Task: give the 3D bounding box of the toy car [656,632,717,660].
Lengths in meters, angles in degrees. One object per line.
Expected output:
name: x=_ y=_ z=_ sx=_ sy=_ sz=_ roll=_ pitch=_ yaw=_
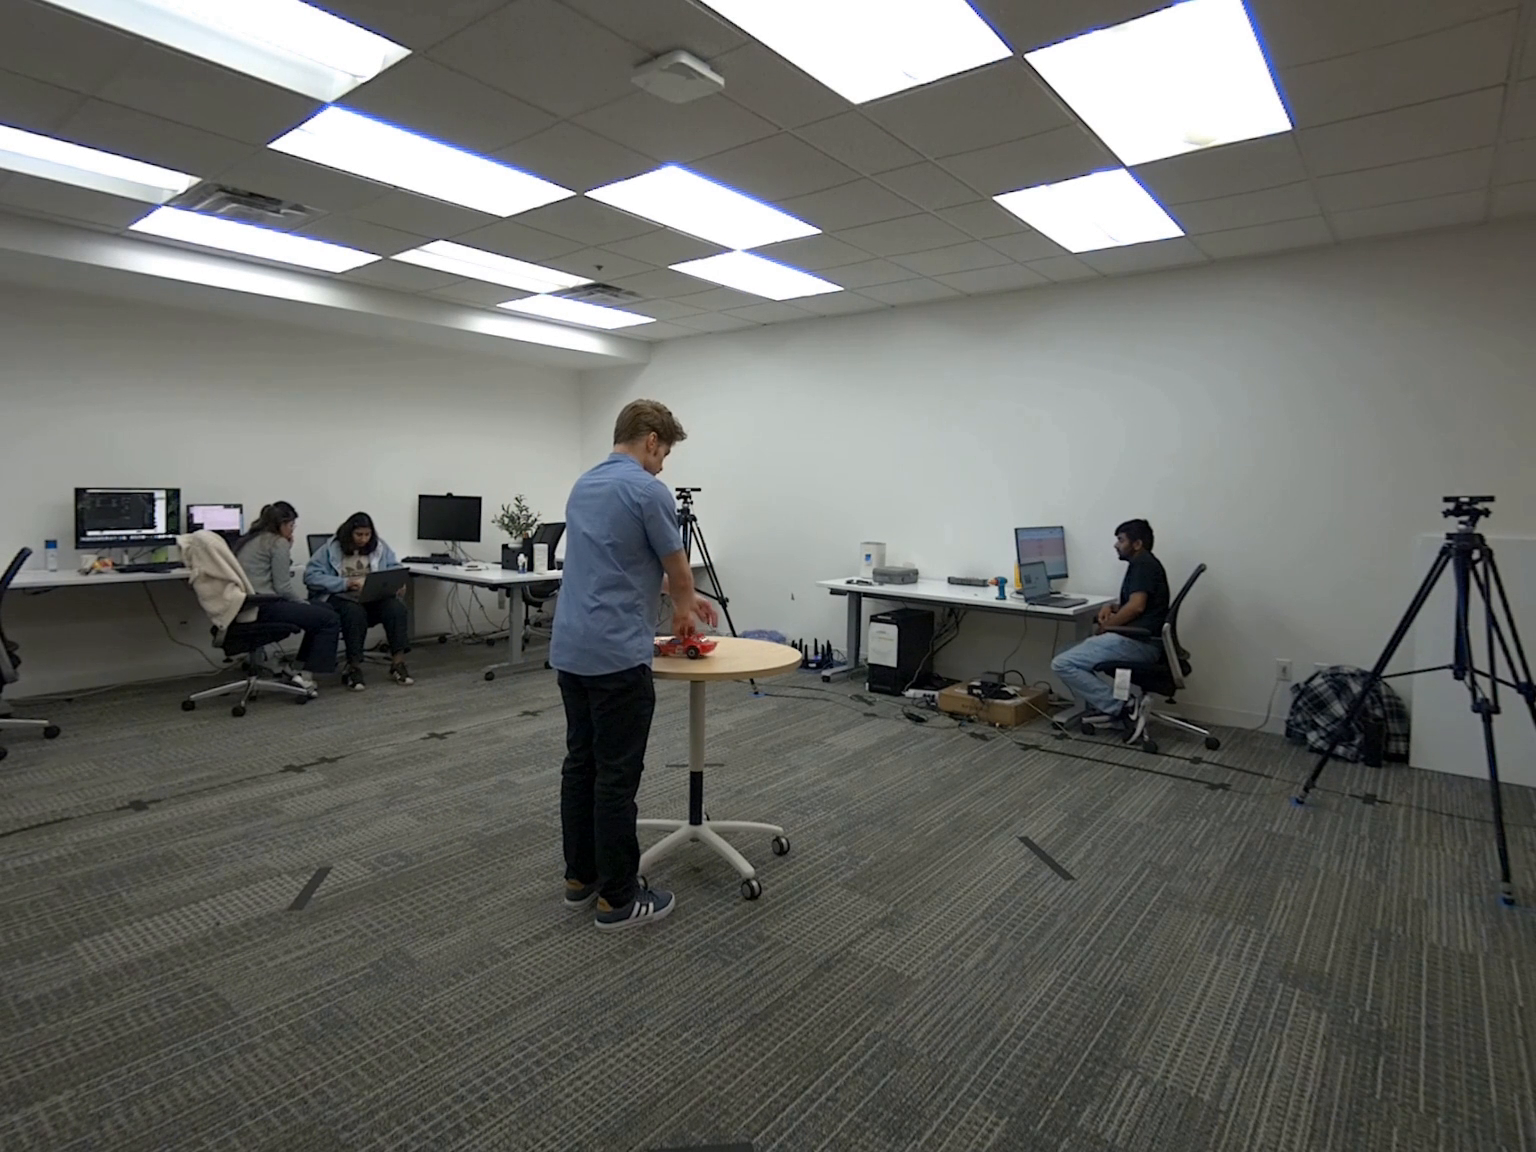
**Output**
toy car: x=-0.308 y=0.255 z=3.071 sx=0.259 sy=0.083 sz=0.128 roll=-9 pitch=1 yaw=19
